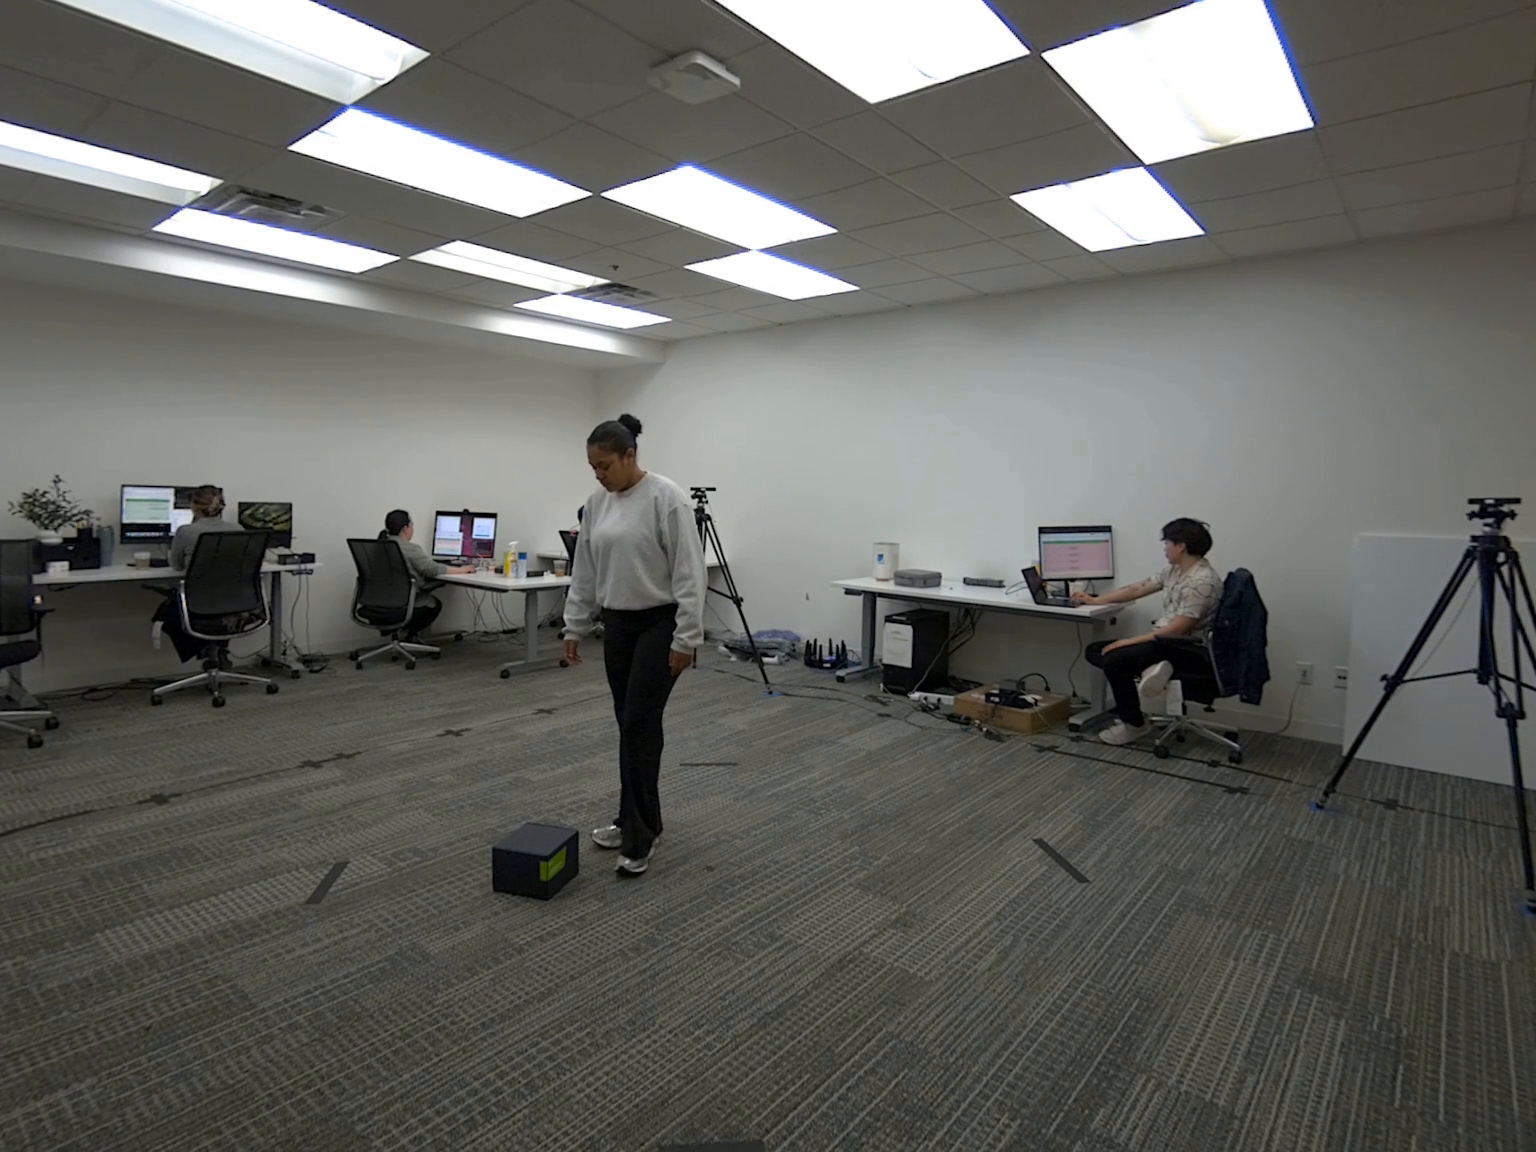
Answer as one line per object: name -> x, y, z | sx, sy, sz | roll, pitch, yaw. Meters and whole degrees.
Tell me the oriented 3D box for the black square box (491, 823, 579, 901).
black square box -> -0.819, 0.984, 2.968 | 0.221, 0.155, 0.225 | 3, 5, 15
